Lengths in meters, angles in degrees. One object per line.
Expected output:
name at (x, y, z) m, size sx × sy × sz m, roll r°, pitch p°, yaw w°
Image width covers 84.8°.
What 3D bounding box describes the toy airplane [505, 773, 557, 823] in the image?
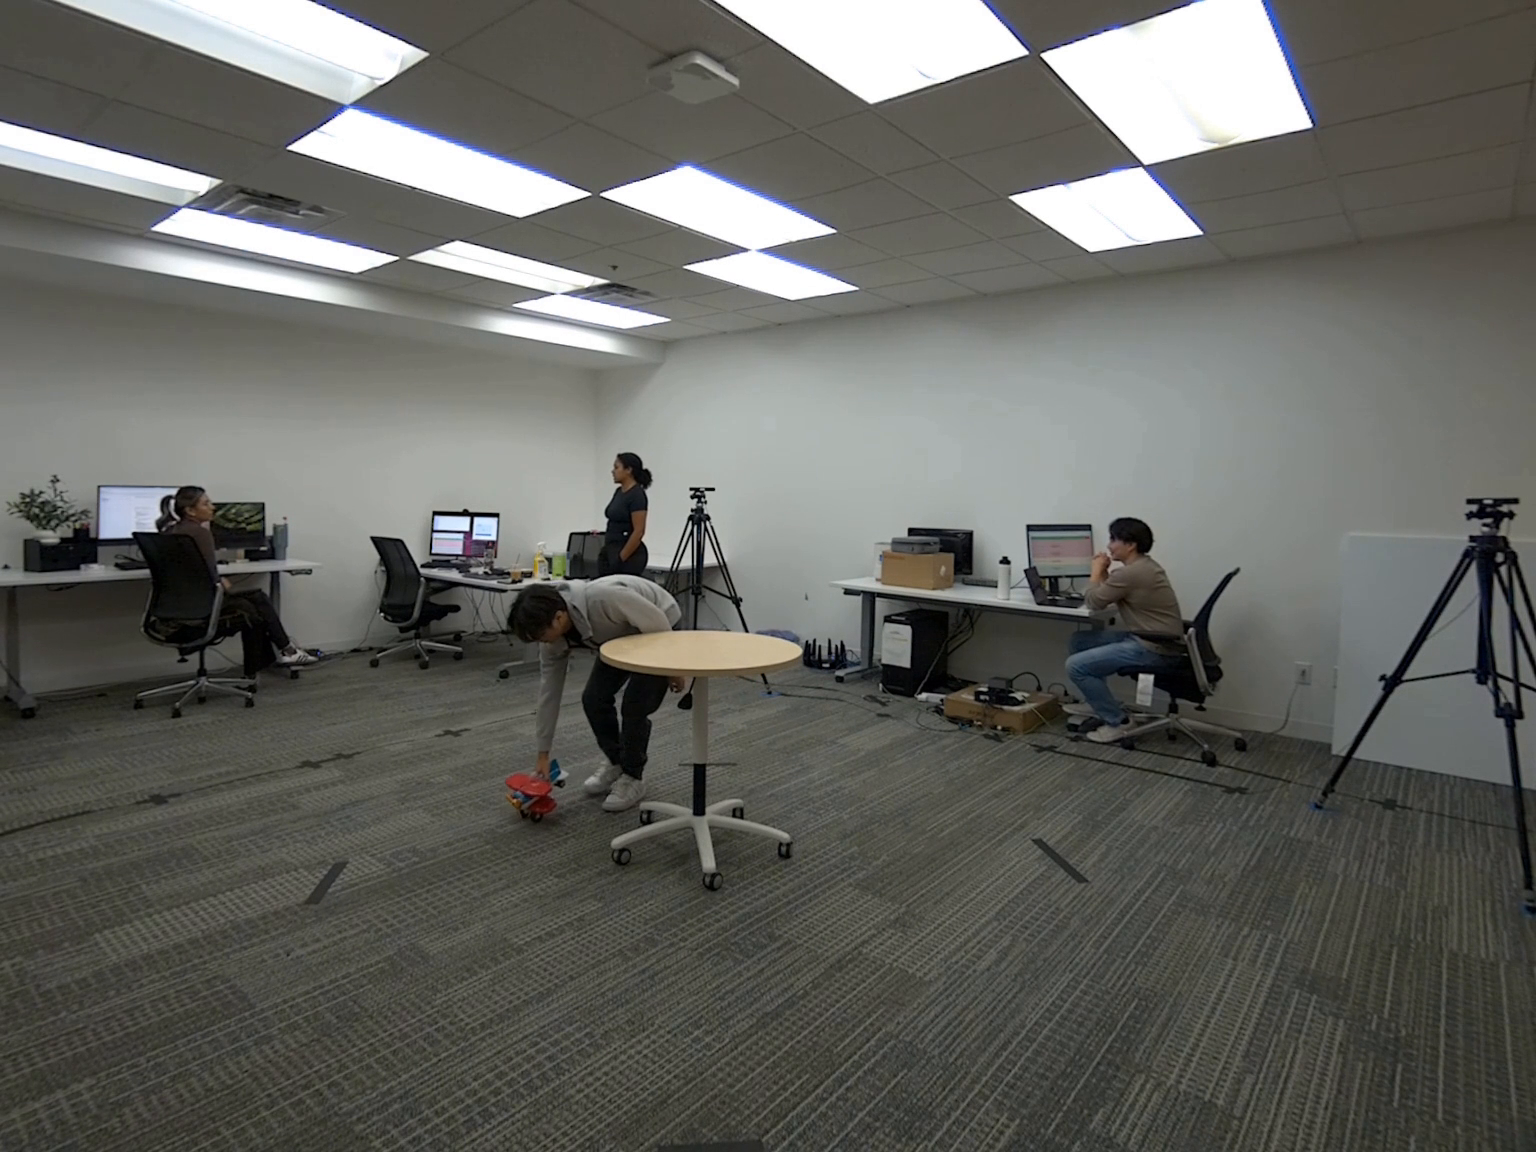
toy airplane at (-0.993, 0.898, 3.587) m, size 0.254 × 0.151 × 0.265 m, roll -13°, pitch 32°, yaw 14°
